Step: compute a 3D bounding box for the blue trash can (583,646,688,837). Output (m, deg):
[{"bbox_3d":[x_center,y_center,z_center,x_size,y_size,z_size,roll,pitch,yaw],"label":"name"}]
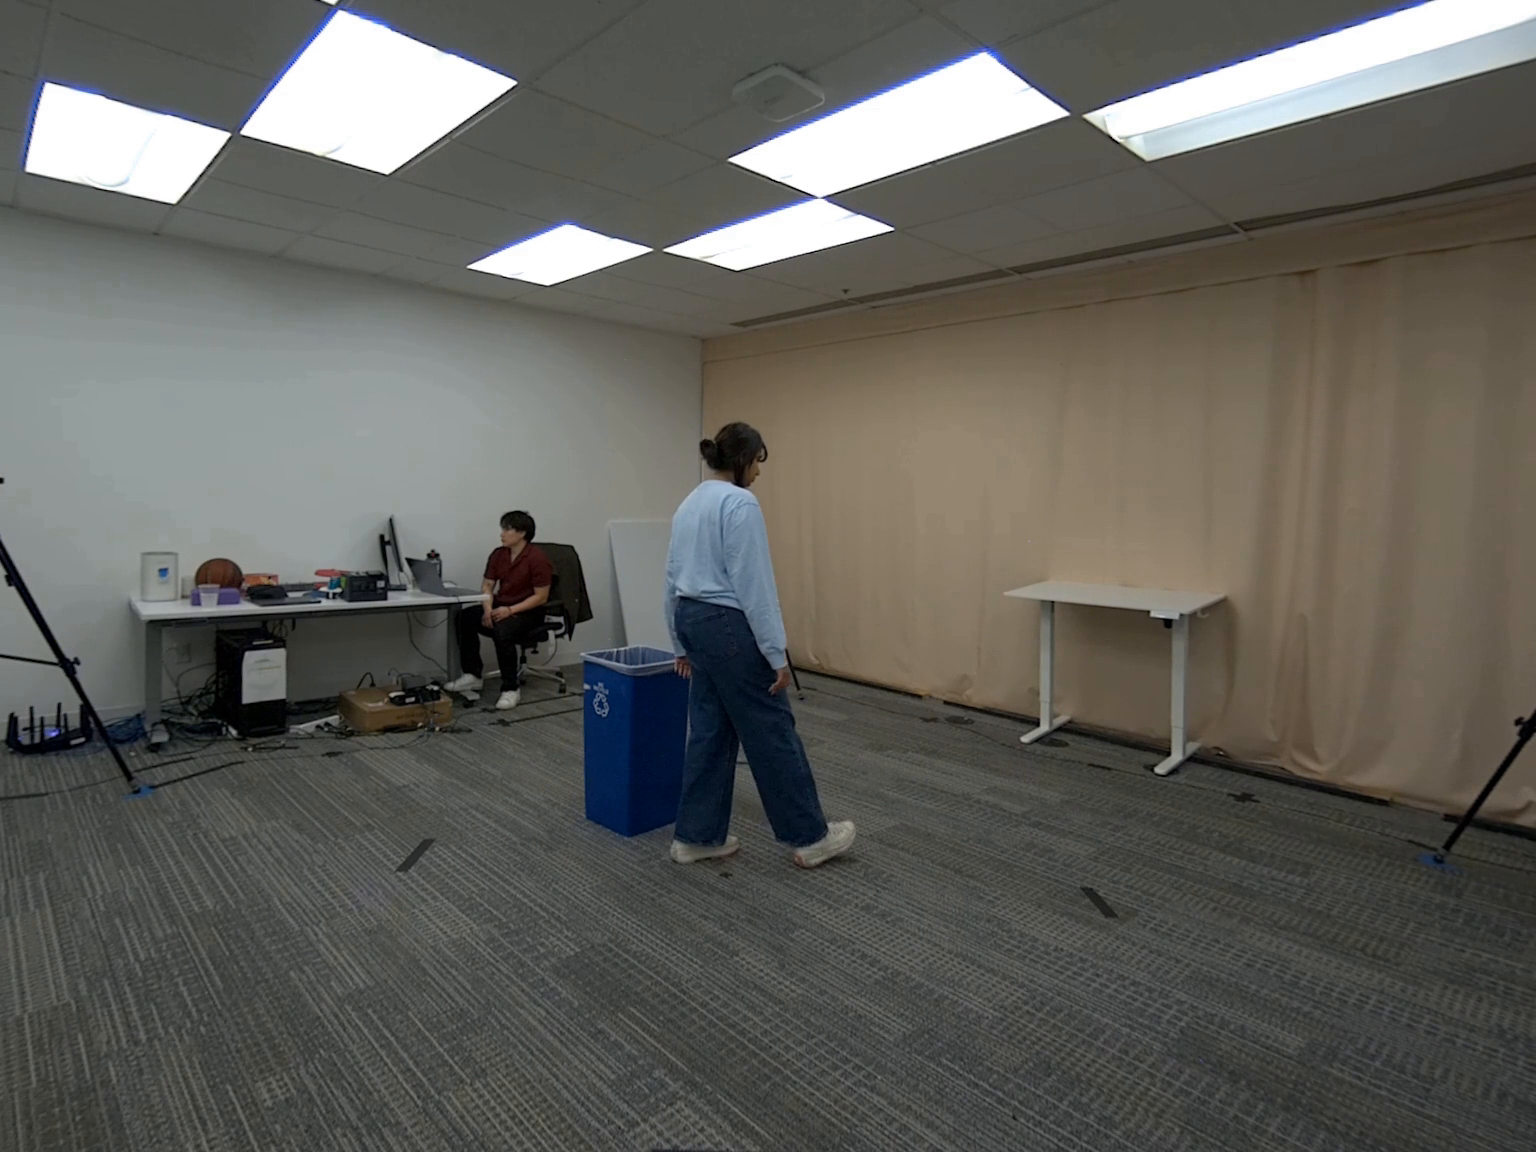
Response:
[{"bbox_3d":[-0.580,0.693,3.611,0.388,0.712,0.365,5,5,42],"label":"blue trash can"}]
